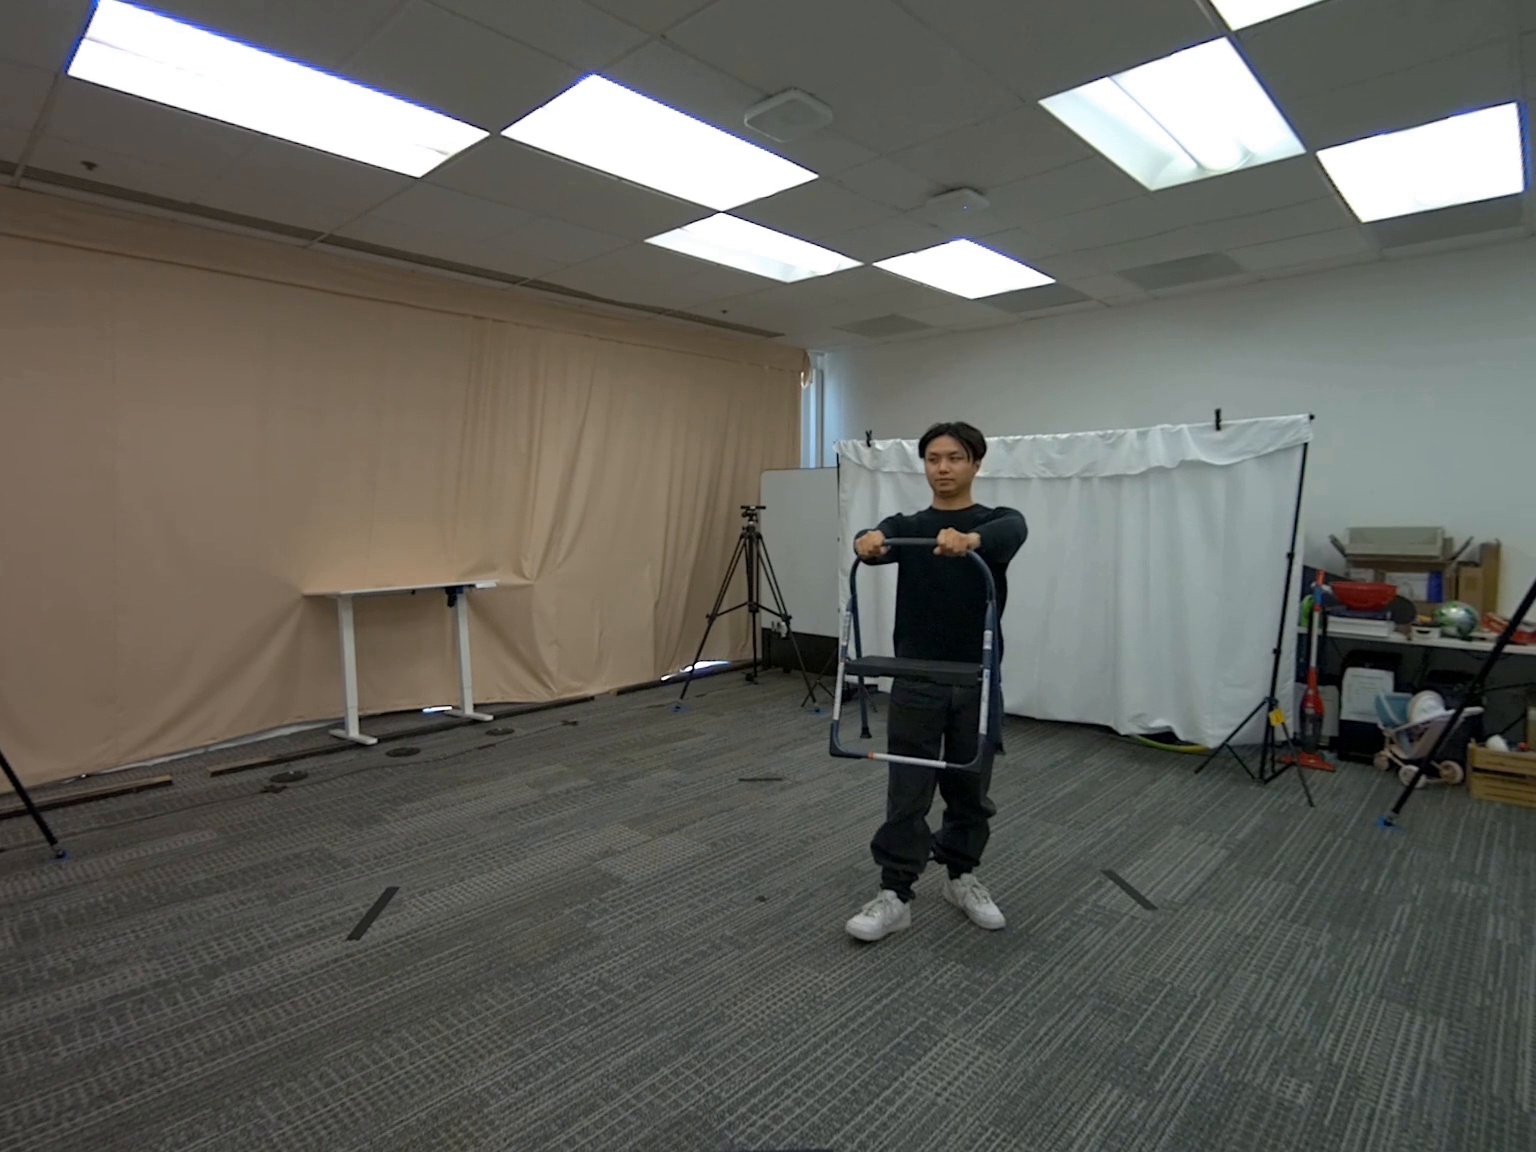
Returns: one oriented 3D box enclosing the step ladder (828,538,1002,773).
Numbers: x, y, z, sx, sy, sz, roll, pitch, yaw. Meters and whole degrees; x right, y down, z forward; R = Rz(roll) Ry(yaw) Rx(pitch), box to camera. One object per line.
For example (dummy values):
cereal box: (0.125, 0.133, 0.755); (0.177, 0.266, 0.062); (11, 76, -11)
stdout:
step ladder: (0.434, 0.202, 2.382); (0.442, 0.606, 0.340); (1, -1, 25)
